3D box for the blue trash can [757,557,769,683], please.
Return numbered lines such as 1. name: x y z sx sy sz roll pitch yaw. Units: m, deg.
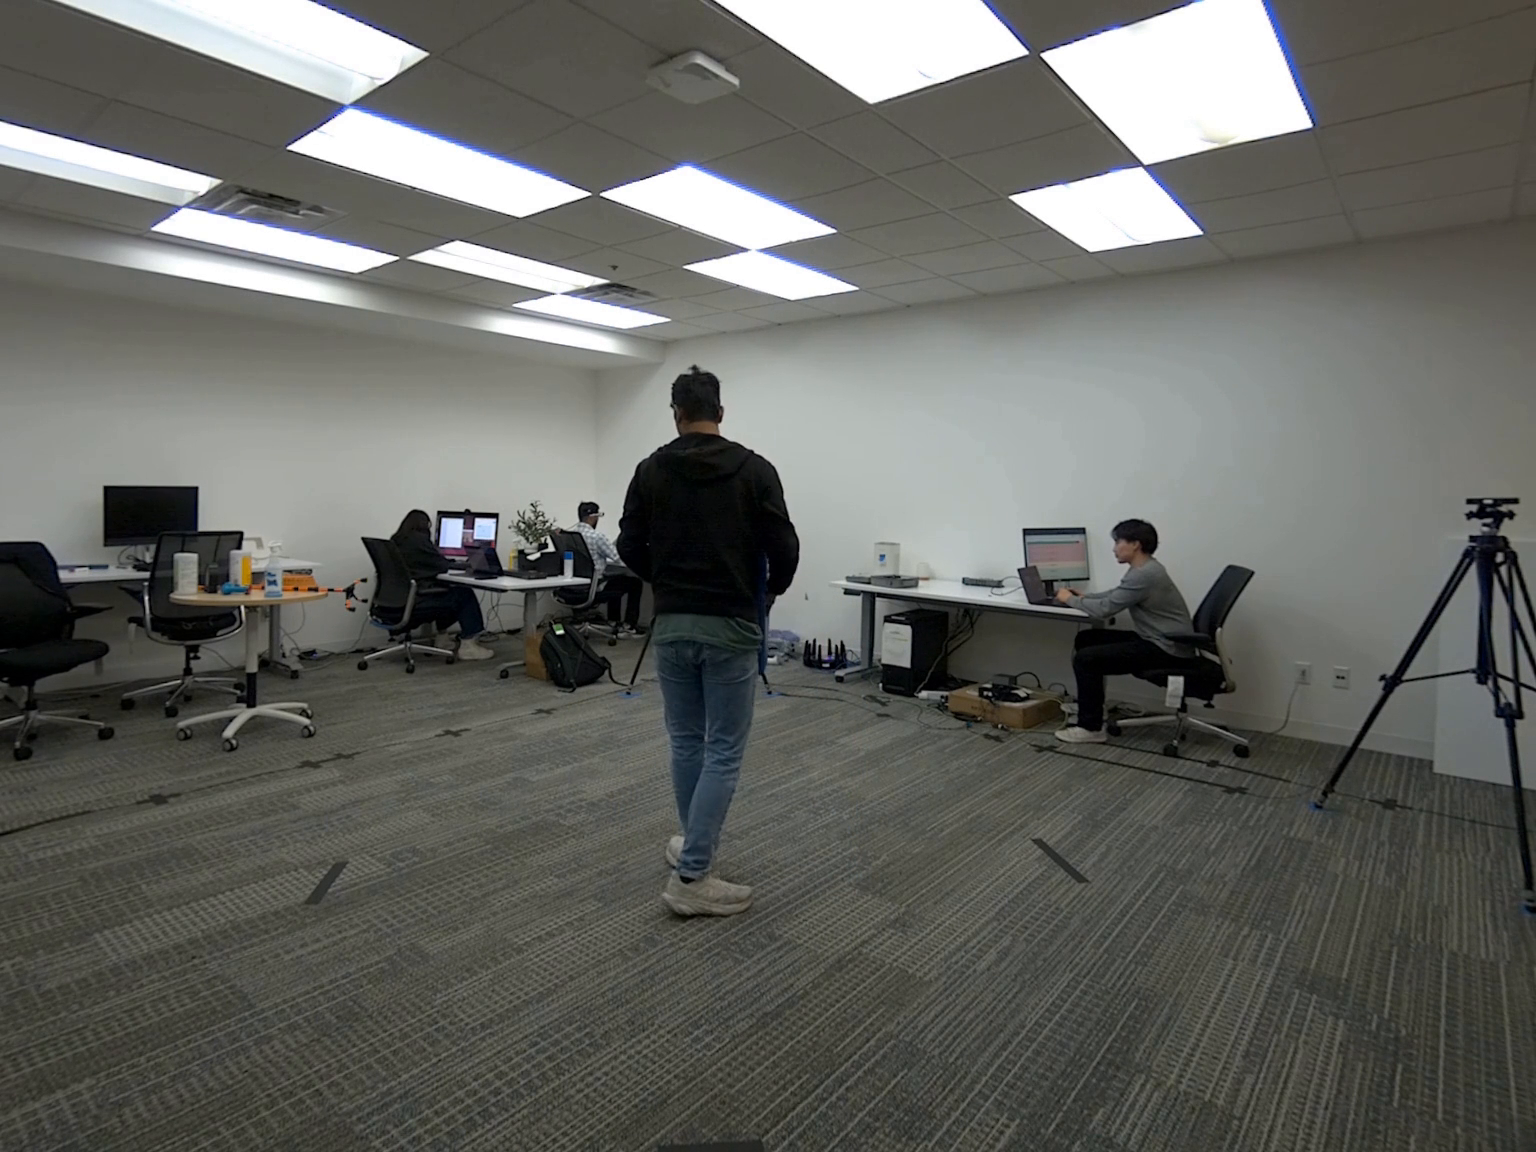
1. blue trash can: -0.168 -0.015 3.245 0.380 0.710 0.374 2 5 4
